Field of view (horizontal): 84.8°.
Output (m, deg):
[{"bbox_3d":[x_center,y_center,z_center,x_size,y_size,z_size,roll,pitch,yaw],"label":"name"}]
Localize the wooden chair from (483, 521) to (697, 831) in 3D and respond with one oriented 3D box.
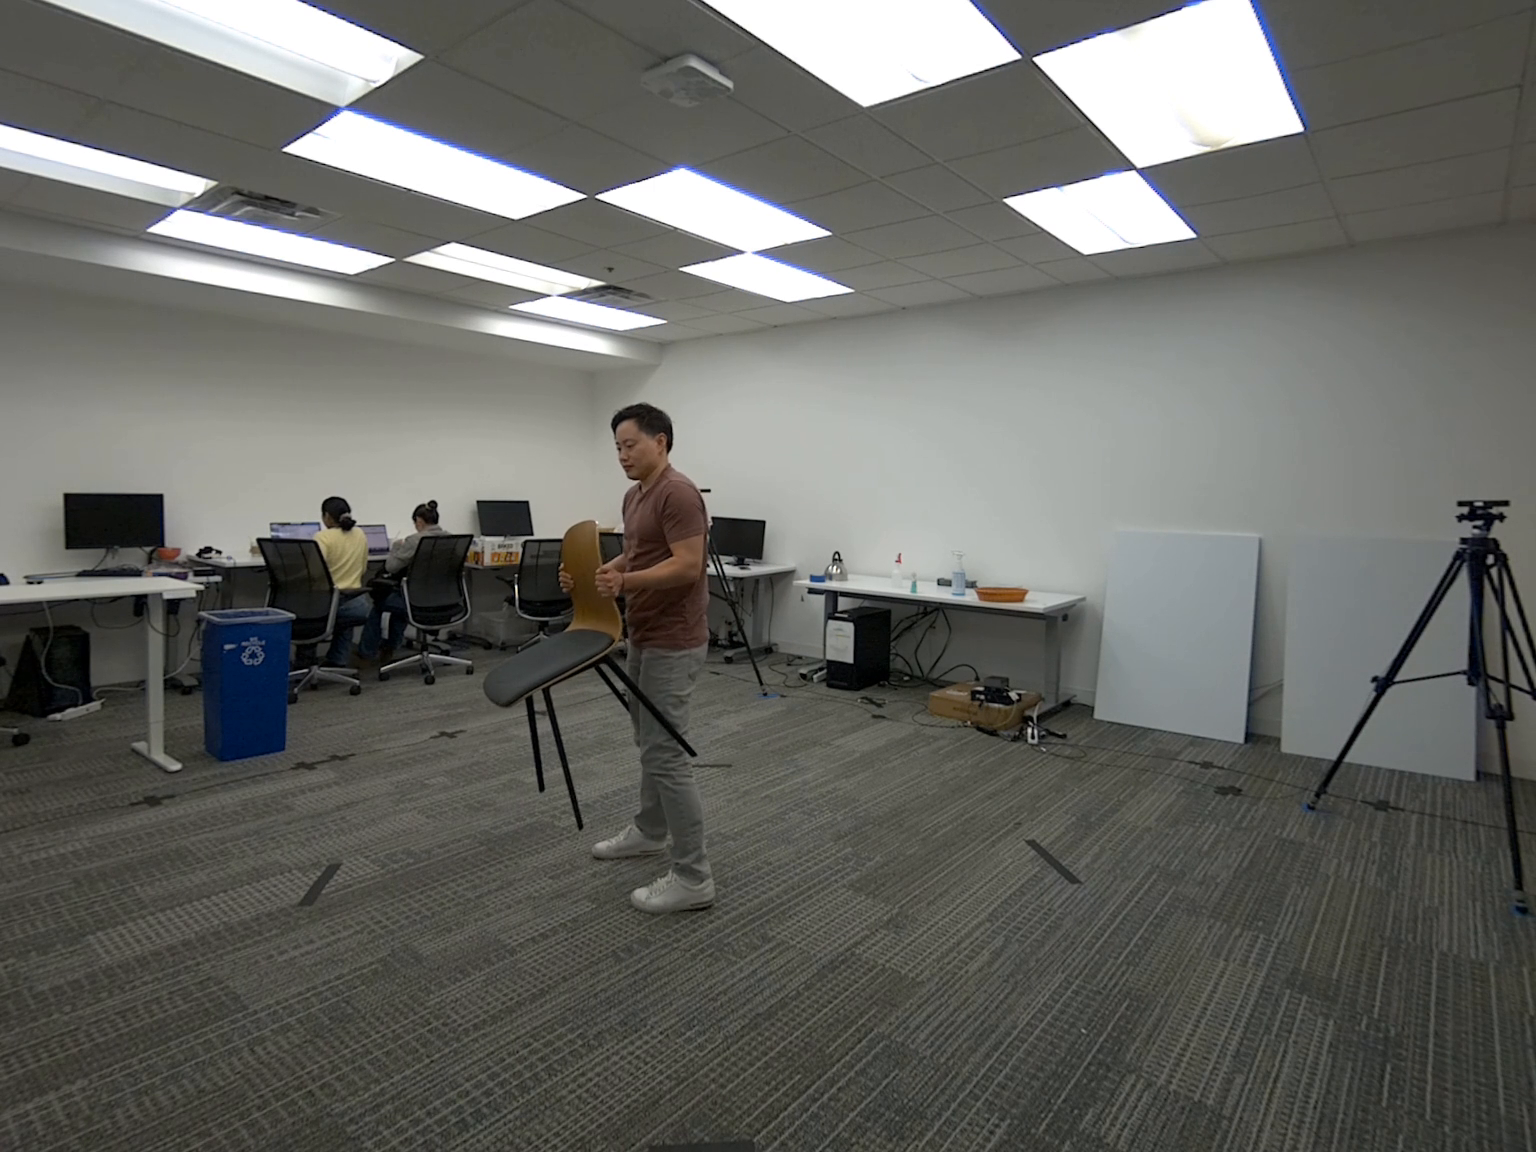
[{"bbox_3d":[-0.700,0.311,2.869,0.515,0.866,0.492,-23,13,-28],"label":"wooden chair"}]
